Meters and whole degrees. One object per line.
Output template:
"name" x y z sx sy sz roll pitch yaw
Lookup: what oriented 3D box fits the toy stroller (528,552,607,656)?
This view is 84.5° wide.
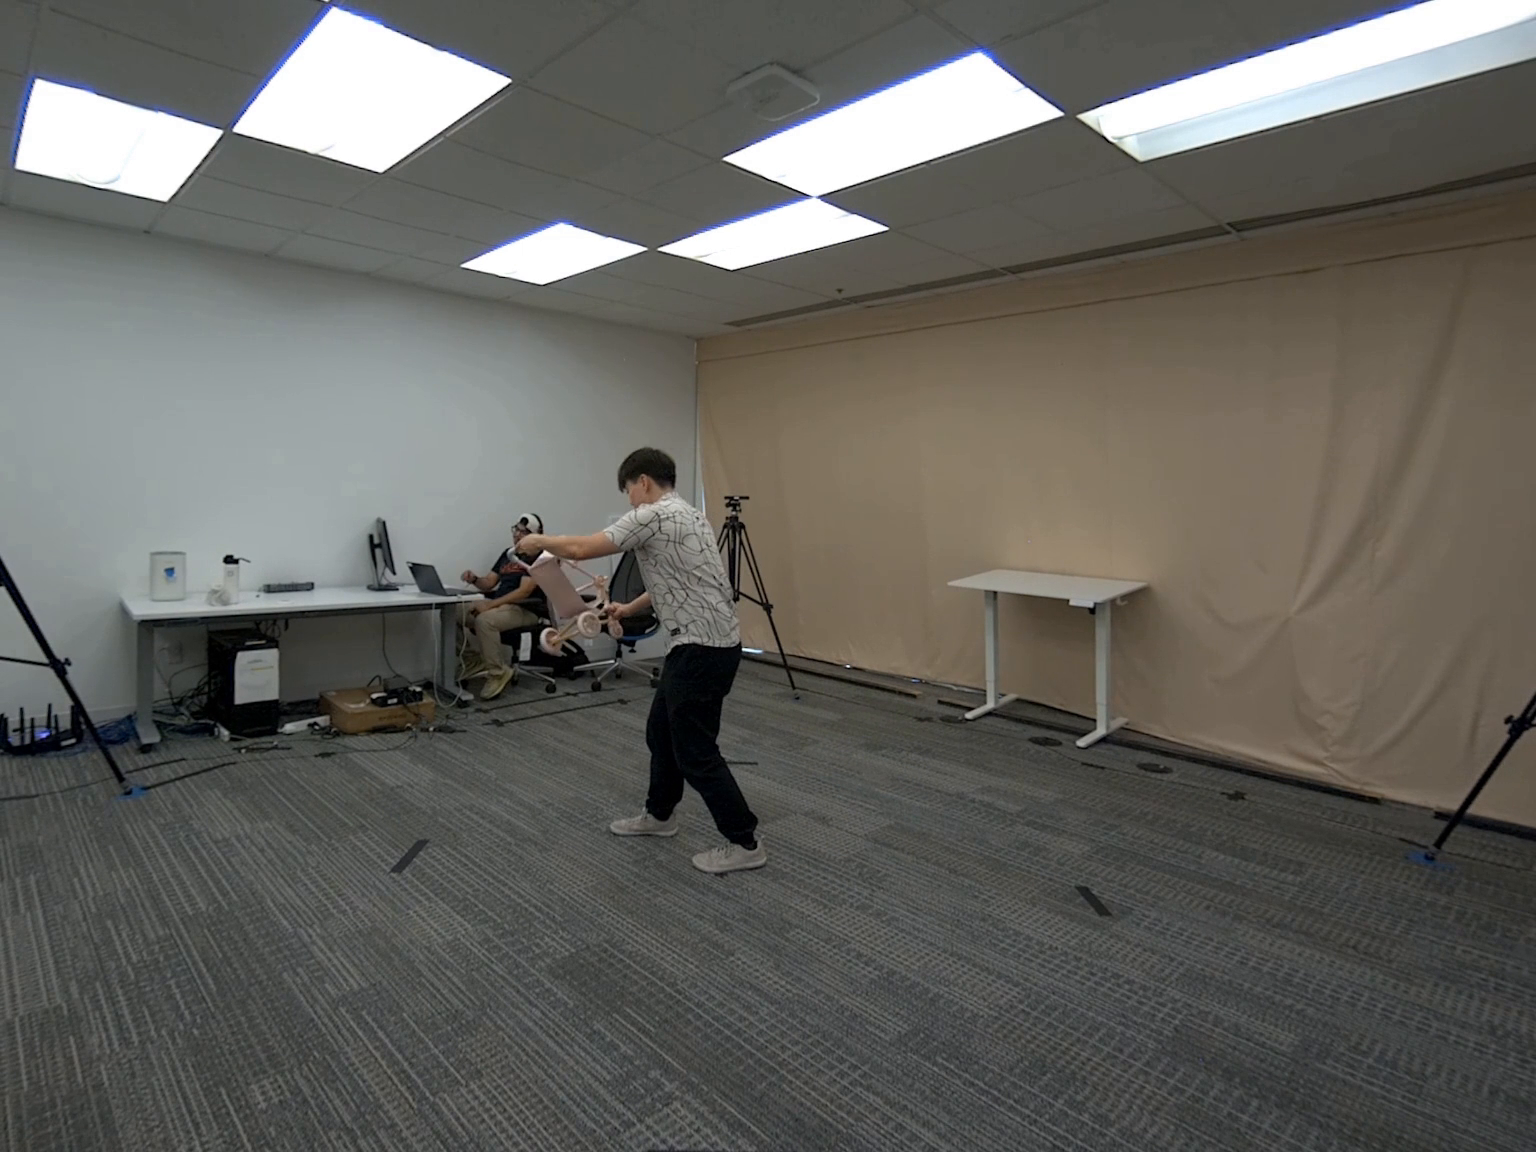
"toy stroller" -0.821 0.072 3.546 0.285 0.534 0.338 -23 3 40
